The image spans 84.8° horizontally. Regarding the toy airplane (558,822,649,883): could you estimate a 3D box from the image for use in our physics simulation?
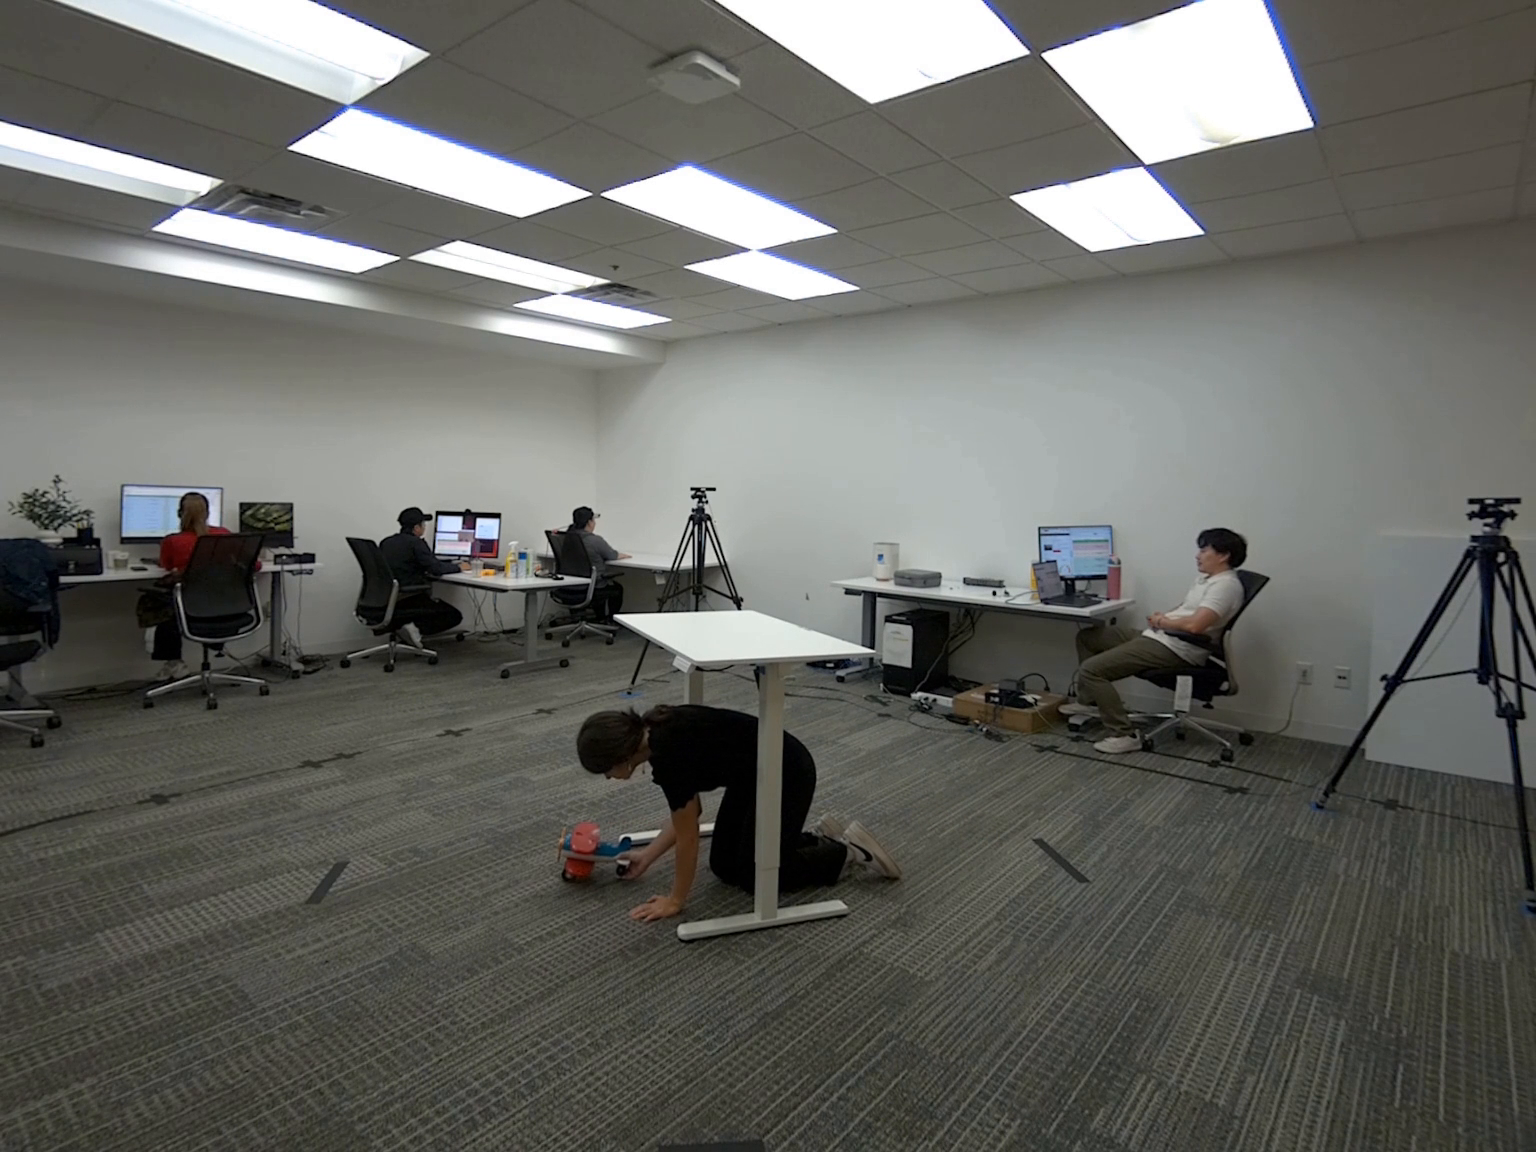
[{"bbox_3d":[-0.628,0.981,3.049,0.253,0.155,0.259,-8,8,-33],"label":"toy airplane"}]
